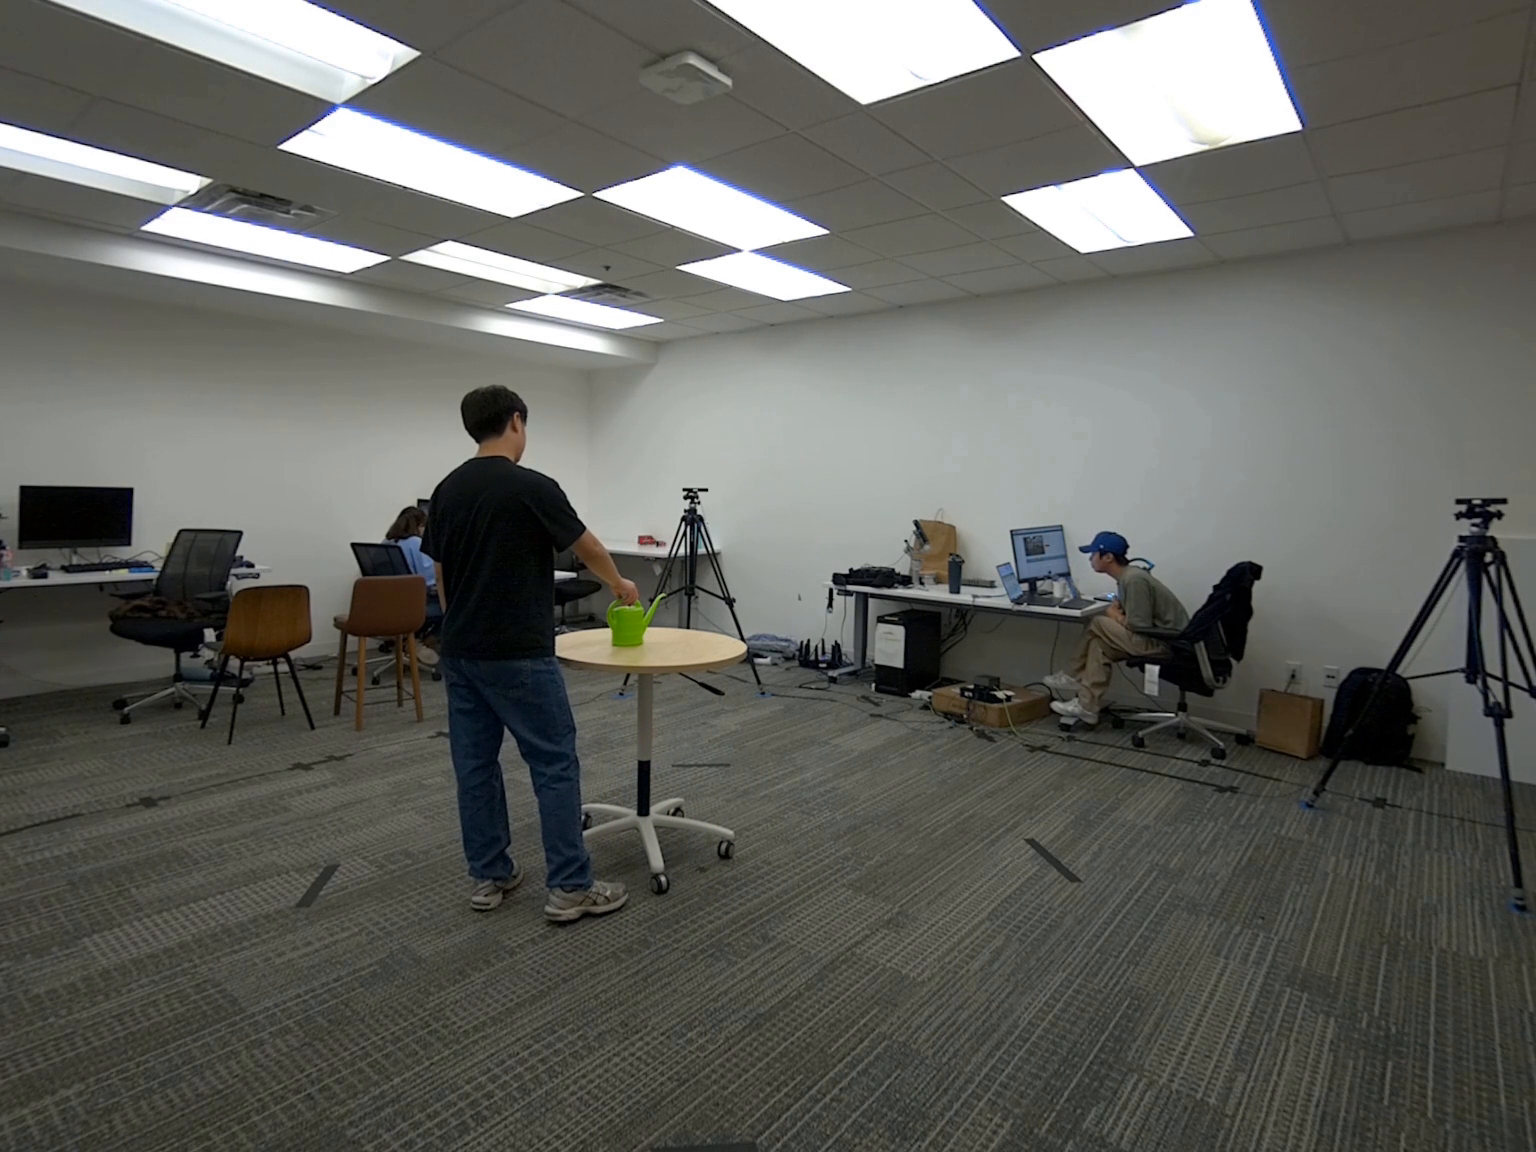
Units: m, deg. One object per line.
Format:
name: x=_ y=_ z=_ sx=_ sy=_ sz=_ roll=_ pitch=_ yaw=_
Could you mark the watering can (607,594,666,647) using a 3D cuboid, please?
watering can: x=-0.504 y=0.168 z=3.241 sx=0.271 sy=0.176 sz=0.101 roll=-4 pitch=6 yaw=-30
